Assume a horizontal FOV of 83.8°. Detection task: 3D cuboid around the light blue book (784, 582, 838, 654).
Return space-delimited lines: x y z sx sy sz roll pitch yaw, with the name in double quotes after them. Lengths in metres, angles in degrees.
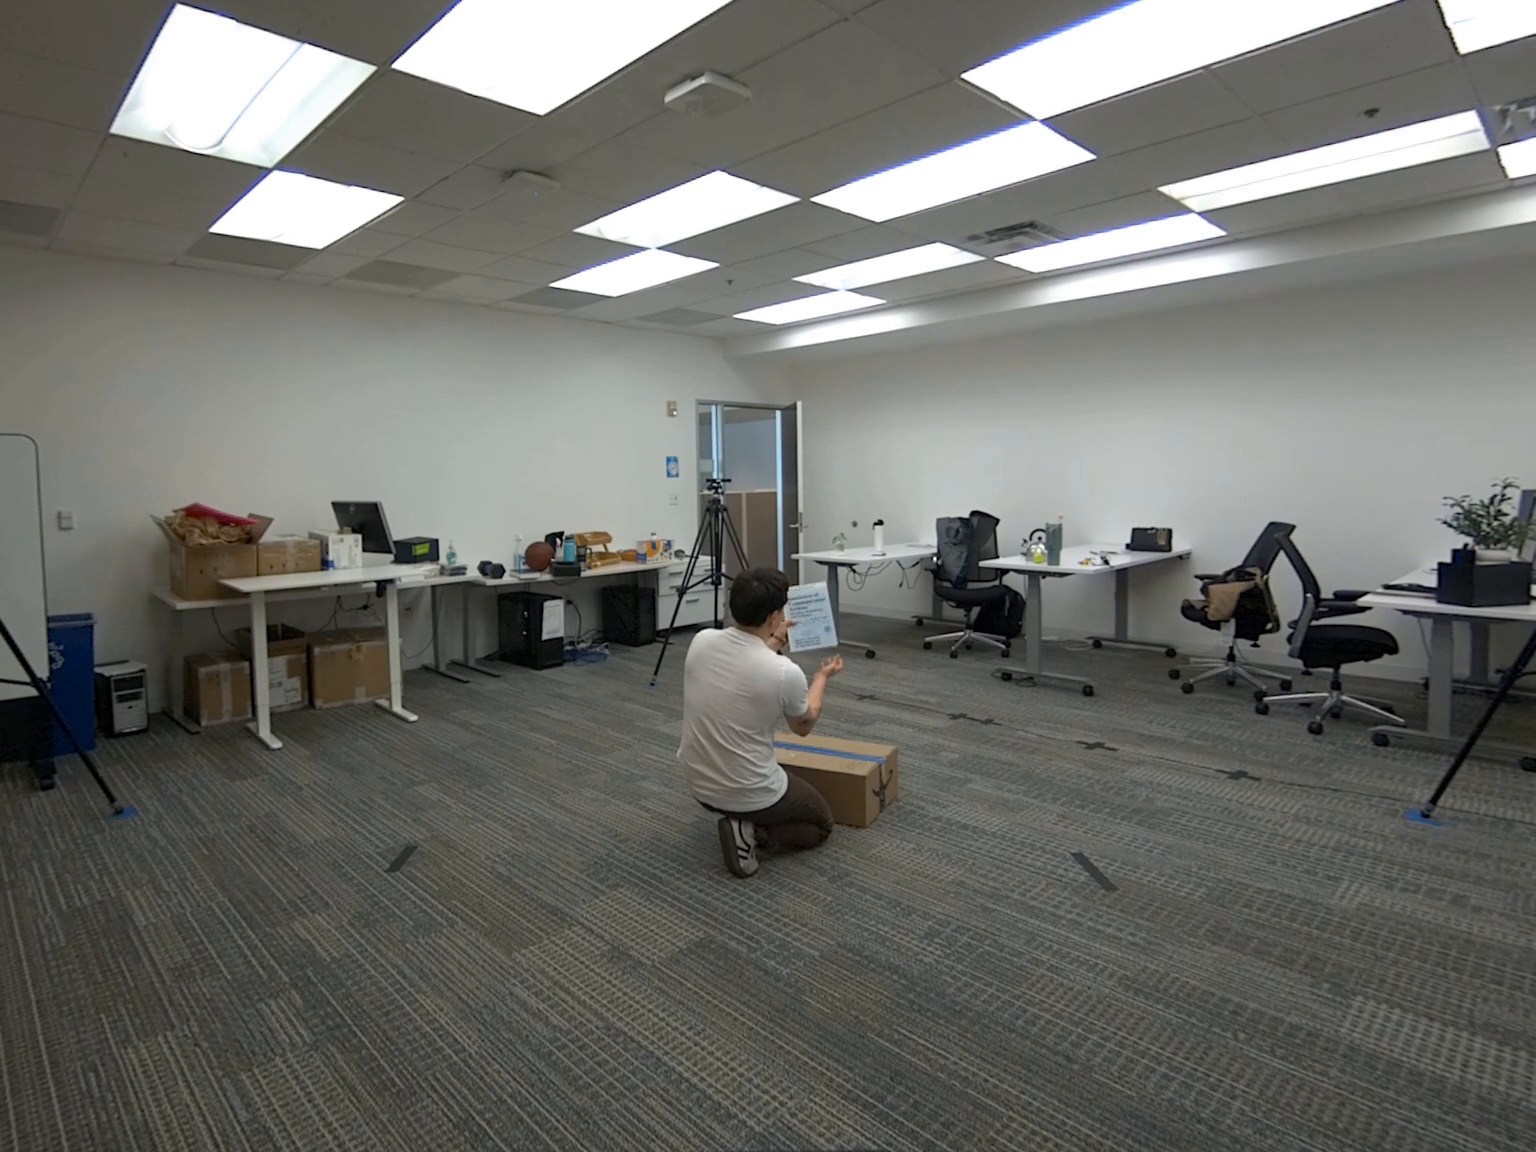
0.162 0.162 3.422 0.191 0.266 0.058 -10 -19 2 "light blue book"
